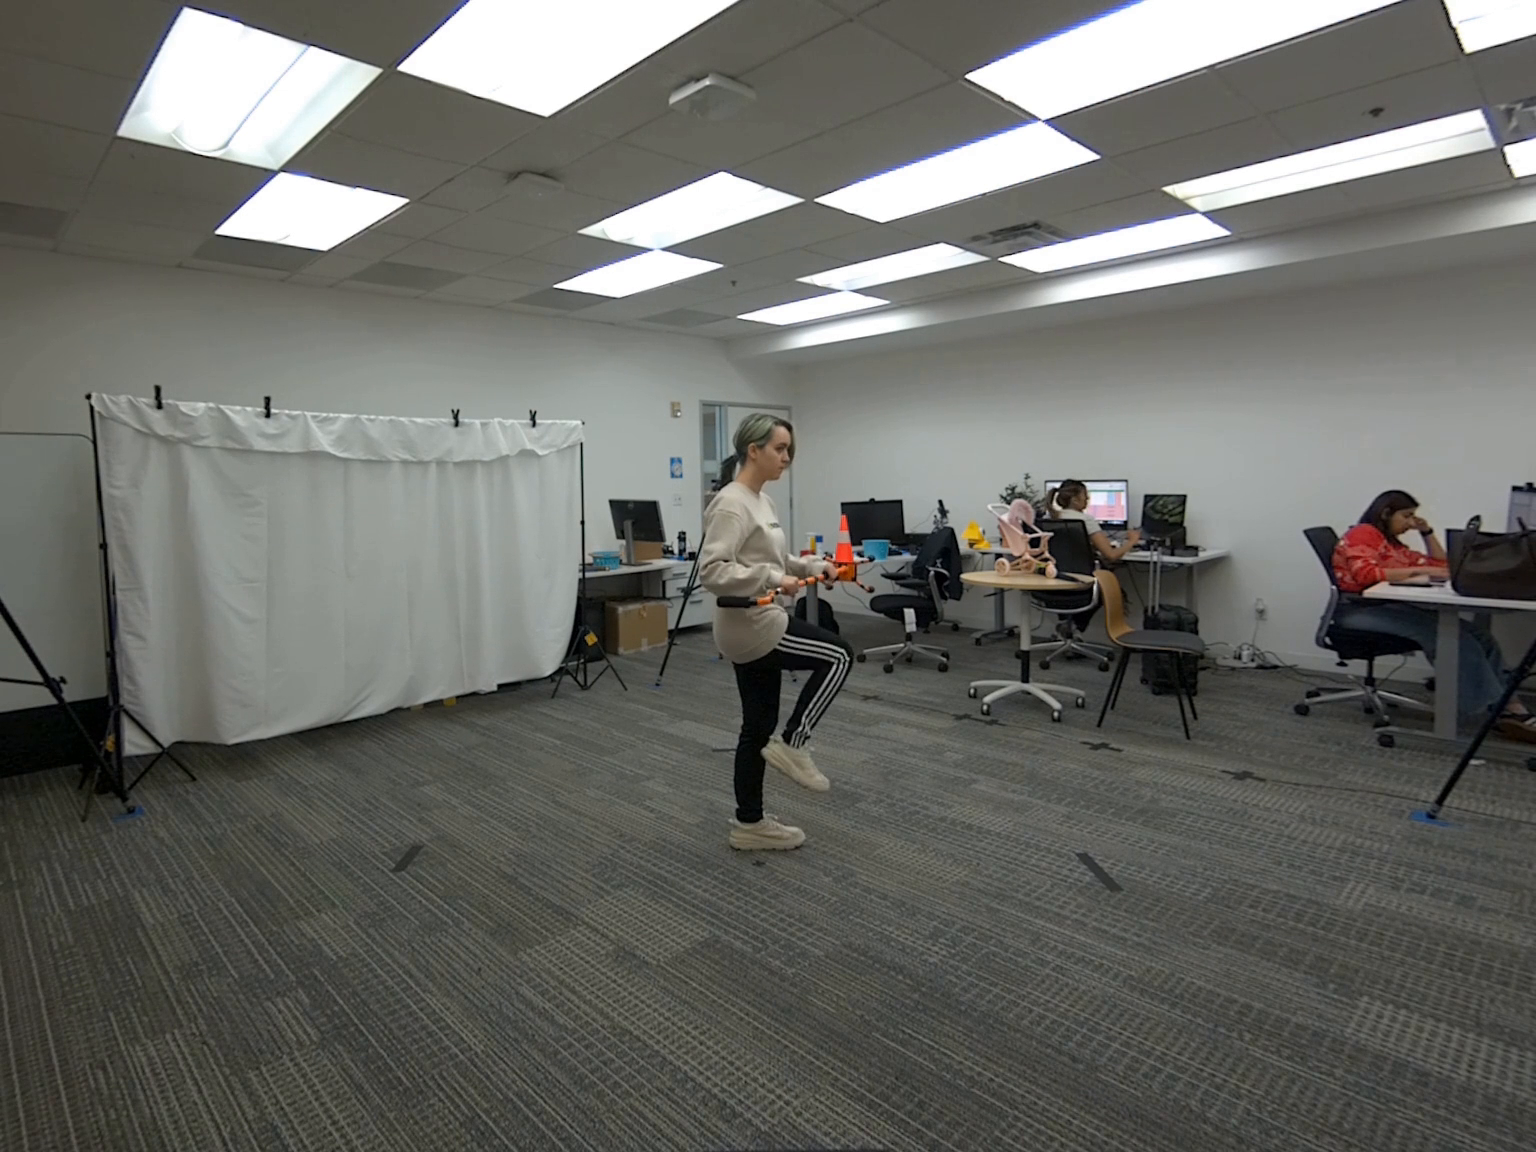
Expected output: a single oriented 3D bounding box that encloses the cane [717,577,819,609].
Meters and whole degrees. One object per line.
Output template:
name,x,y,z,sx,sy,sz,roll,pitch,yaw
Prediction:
cane,0.154,0.043,3.010,0.211,0.151,0.891,1,7,25
